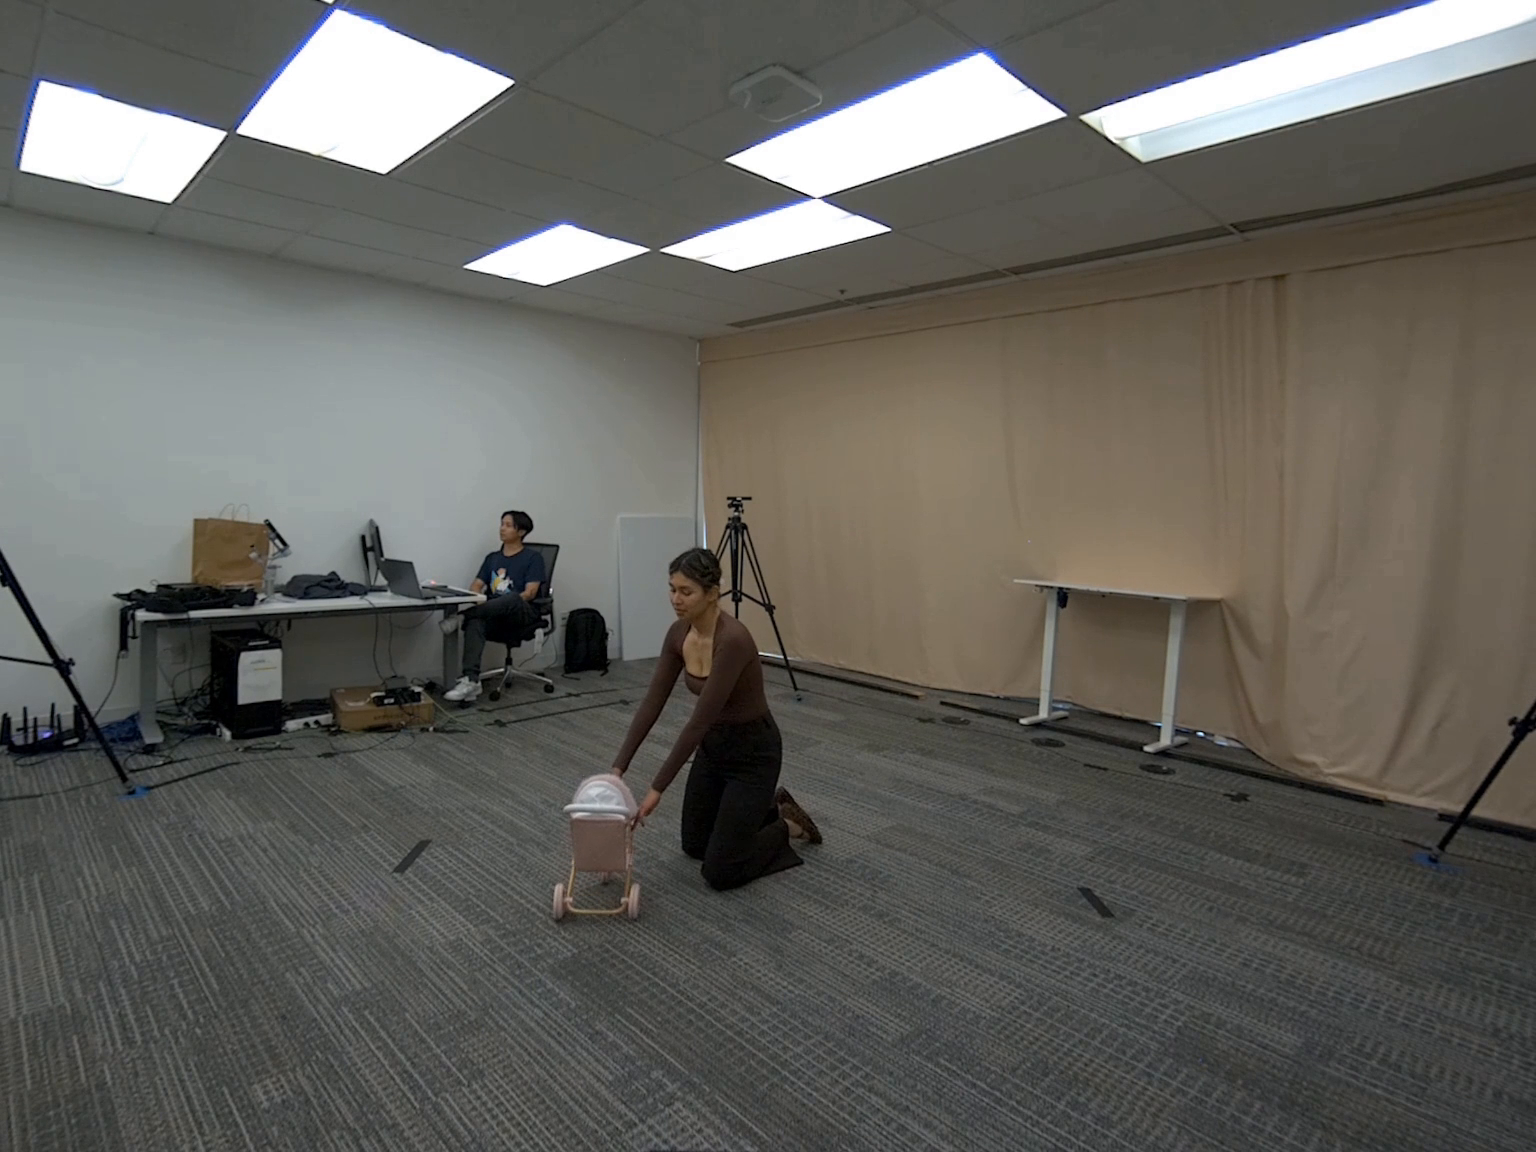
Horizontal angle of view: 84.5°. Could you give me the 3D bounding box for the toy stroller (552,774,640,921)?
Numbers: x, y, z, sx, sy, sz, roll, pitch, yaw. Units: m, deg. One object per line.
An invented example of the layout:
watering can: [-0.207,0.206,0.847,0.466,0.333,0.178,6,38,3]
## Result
toy stroller: [-0.557,0.894,2.830,0.281,0.528,0.346,3,19,-1]
